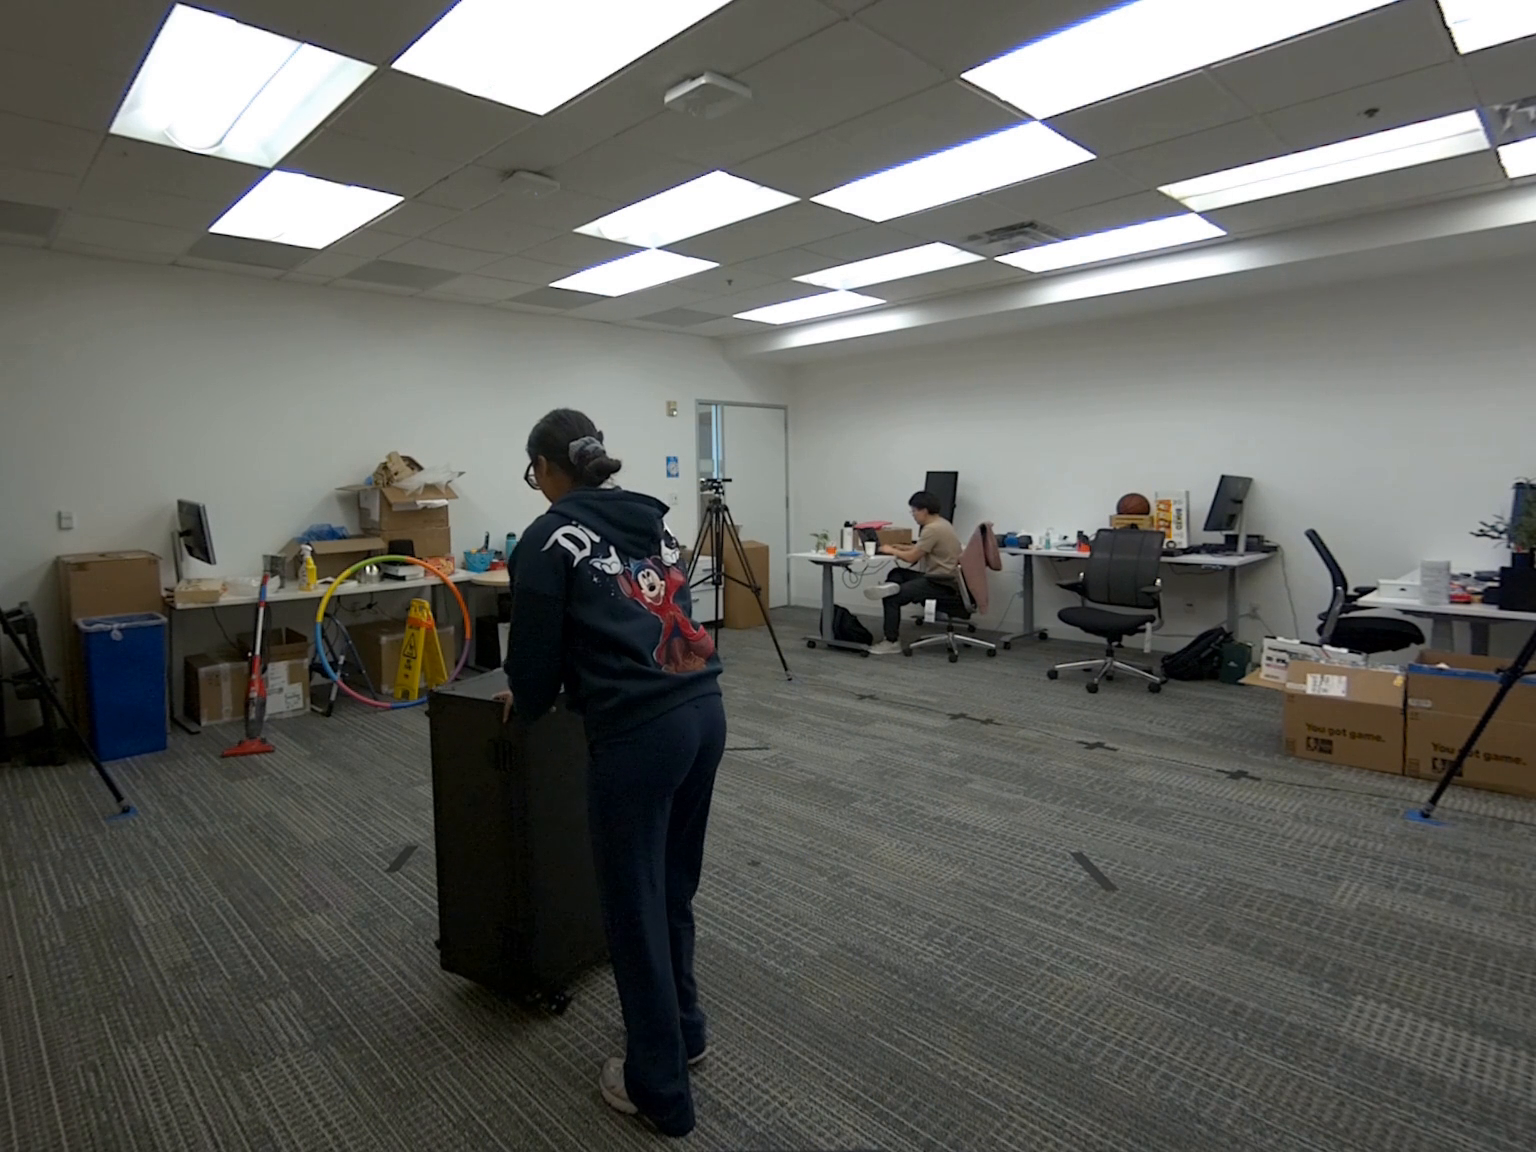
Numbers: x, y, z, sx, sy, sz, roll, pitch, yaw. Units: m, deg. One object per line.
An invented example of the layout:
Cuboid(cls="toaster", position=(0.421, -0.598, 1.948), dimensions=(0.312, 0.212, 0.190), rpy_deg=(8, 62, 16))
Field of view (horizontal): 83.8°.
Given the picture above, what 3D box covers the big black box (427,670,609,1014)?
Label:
Cuboid(cls="big black box", position=(-0.658, 0.709, 2.442), dimensions=(0.406, 0.859, 0.509), rpy_deg=(-1, 3, 31))
